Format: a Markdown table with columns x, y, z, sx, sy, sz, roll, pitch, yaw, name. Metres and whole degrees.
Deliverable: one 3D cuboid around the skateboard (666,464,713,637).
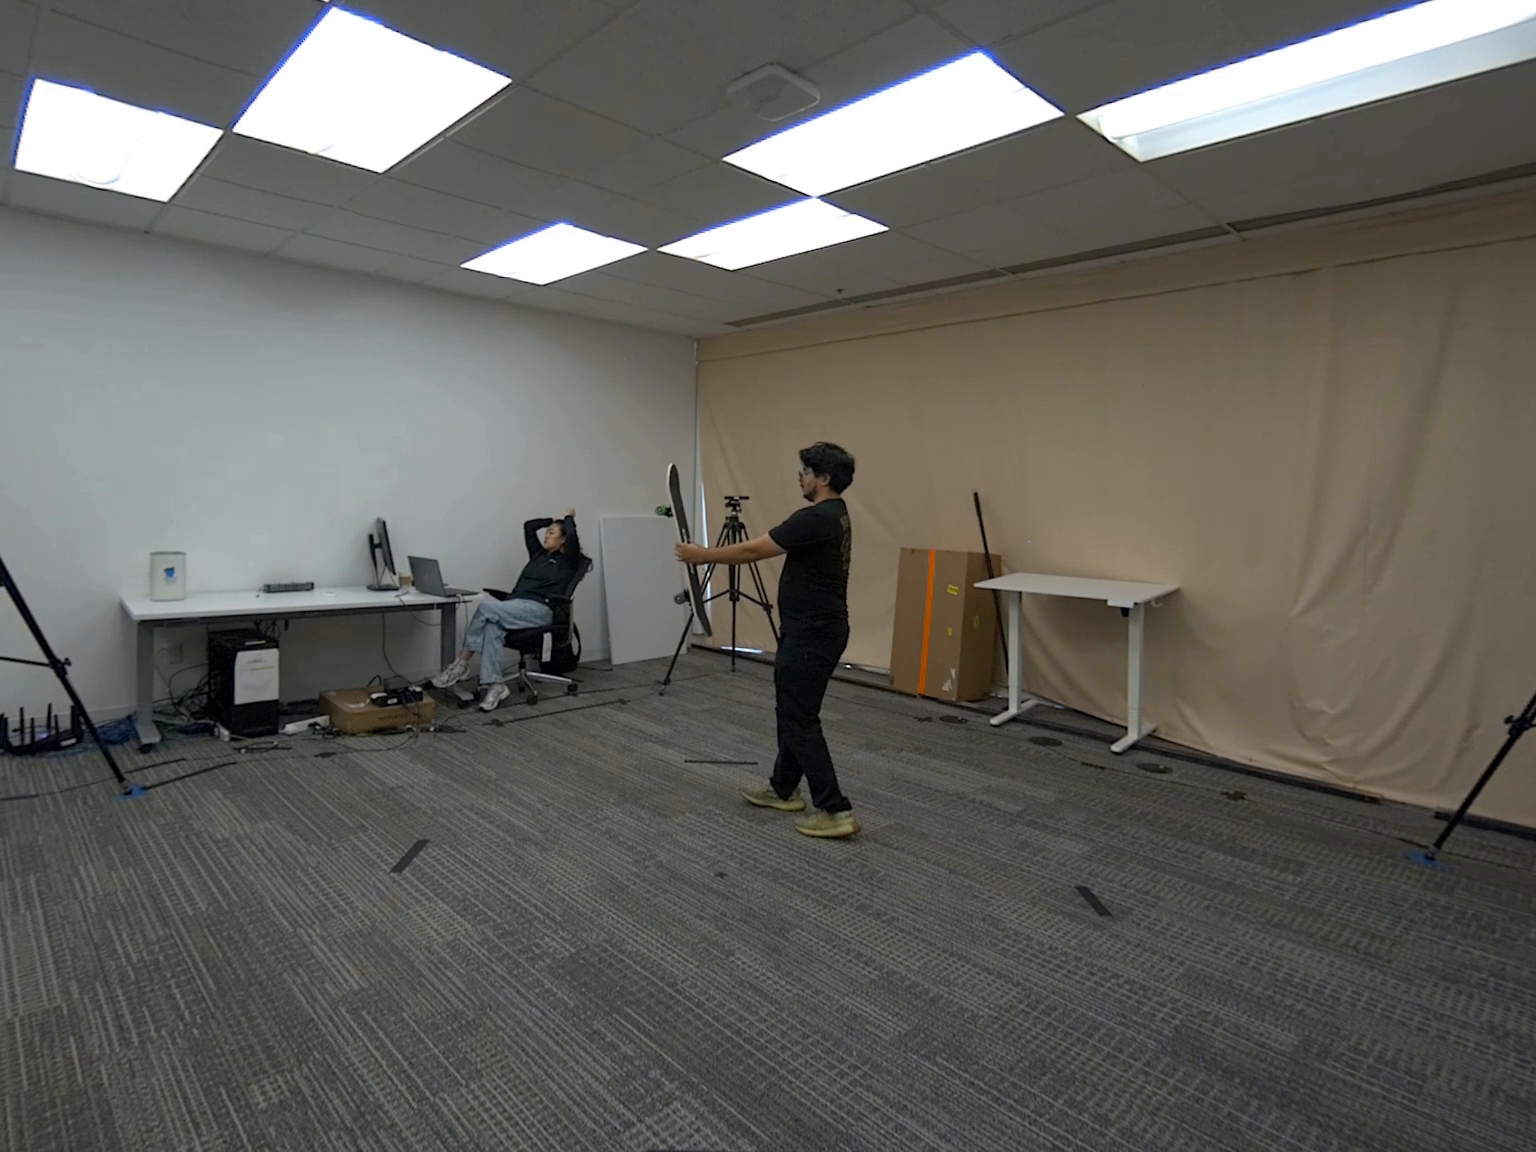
| x | y | z | sx | sy | sz | roll | pitch | yaw | name |
| --- | --- | --- | --- | --- | --- | --- | --- | --- | --- |
| -0.392 | -0.102 | 3.751 | 0.111 | 0.785 | 0.192 | -13 | 0 | 10 | skateboard |
